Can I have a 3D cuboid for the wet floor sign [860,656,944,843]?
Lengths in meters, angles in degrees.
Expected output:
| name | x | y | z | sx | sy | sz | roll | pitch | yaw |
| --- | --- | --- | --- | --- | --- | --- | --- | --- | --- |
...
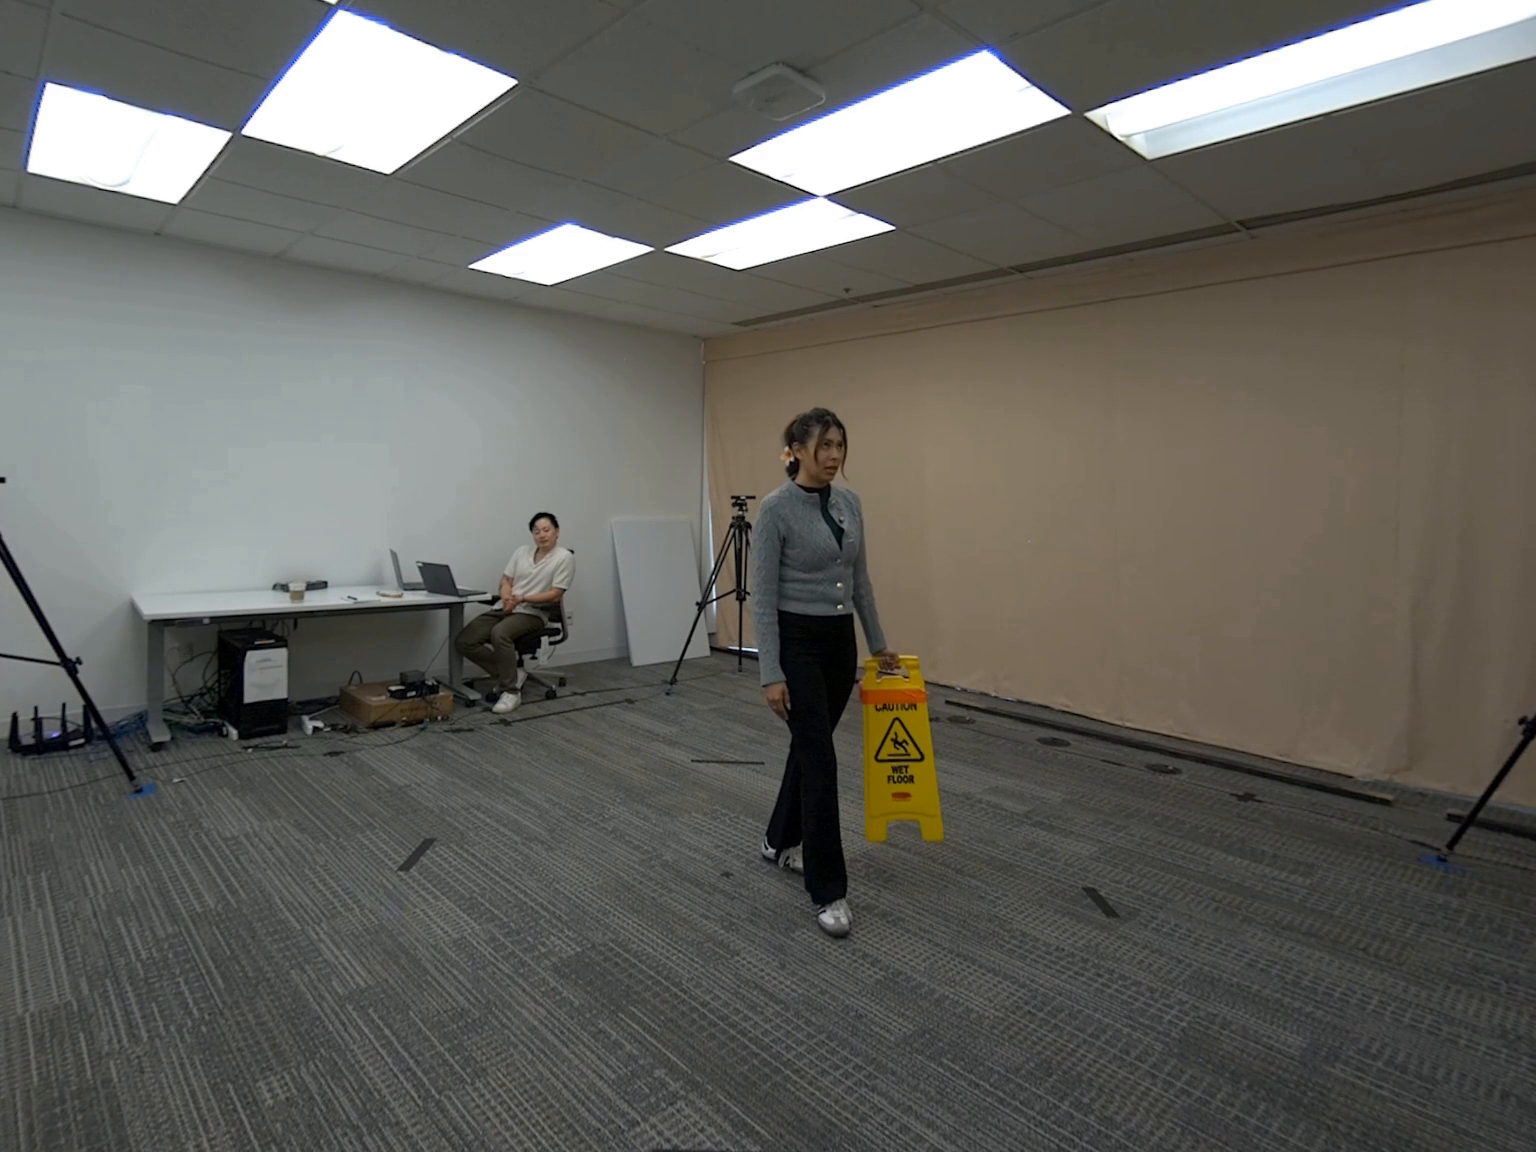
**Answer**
| name | x | y | z | sx | sy | sz | roll | pitch | yaw |
| --- | --- | --- | --- | --- | --- | --- | --- | --- | --- |
| wet floor sign | 0.475 | 0.614 | 3.128 | 0.284 | 0.641 | 0.290 | -3 | 9 | 6 |
